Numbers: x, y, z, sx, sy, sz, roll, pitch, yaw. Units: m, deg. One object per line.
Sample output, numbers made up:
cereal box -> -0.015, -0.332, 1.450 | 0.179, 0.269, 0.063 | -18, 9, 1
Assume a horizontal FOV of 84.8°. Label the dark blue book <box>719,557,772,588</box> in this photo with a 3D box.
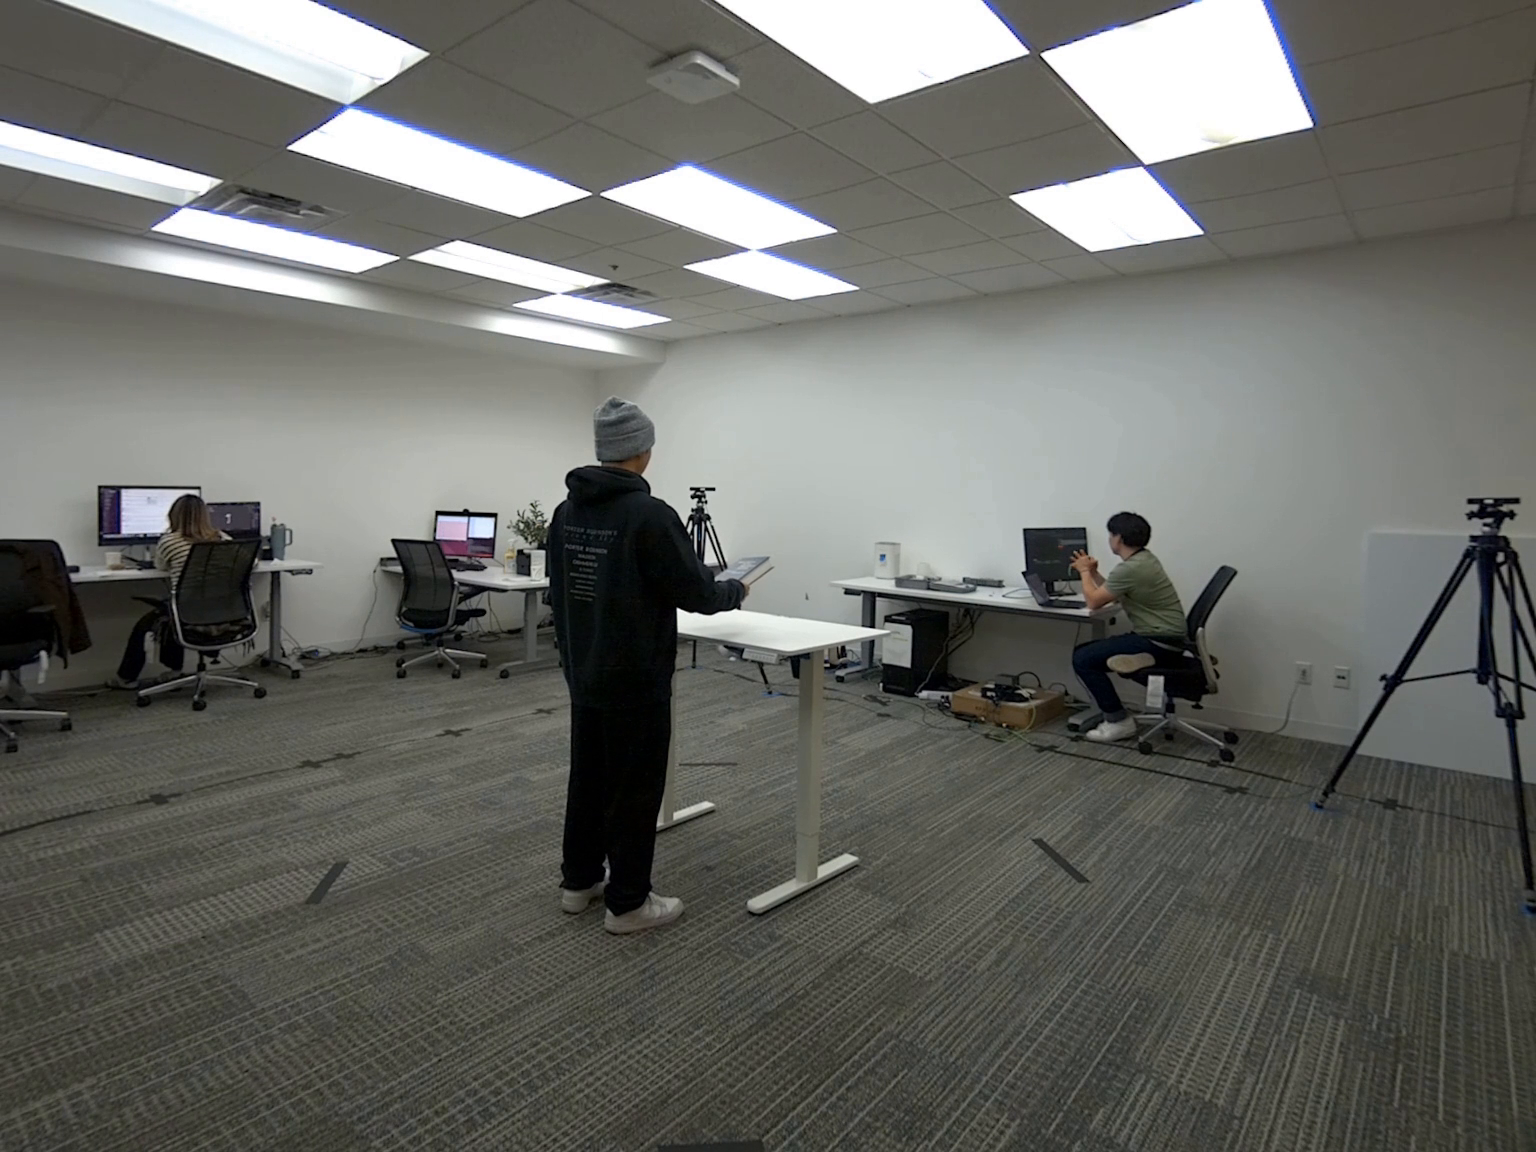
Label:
dark blue book -> -0.122, 0.007, 3.004 | 0.168, 0.044, 0.243 | -1, 27, 48
